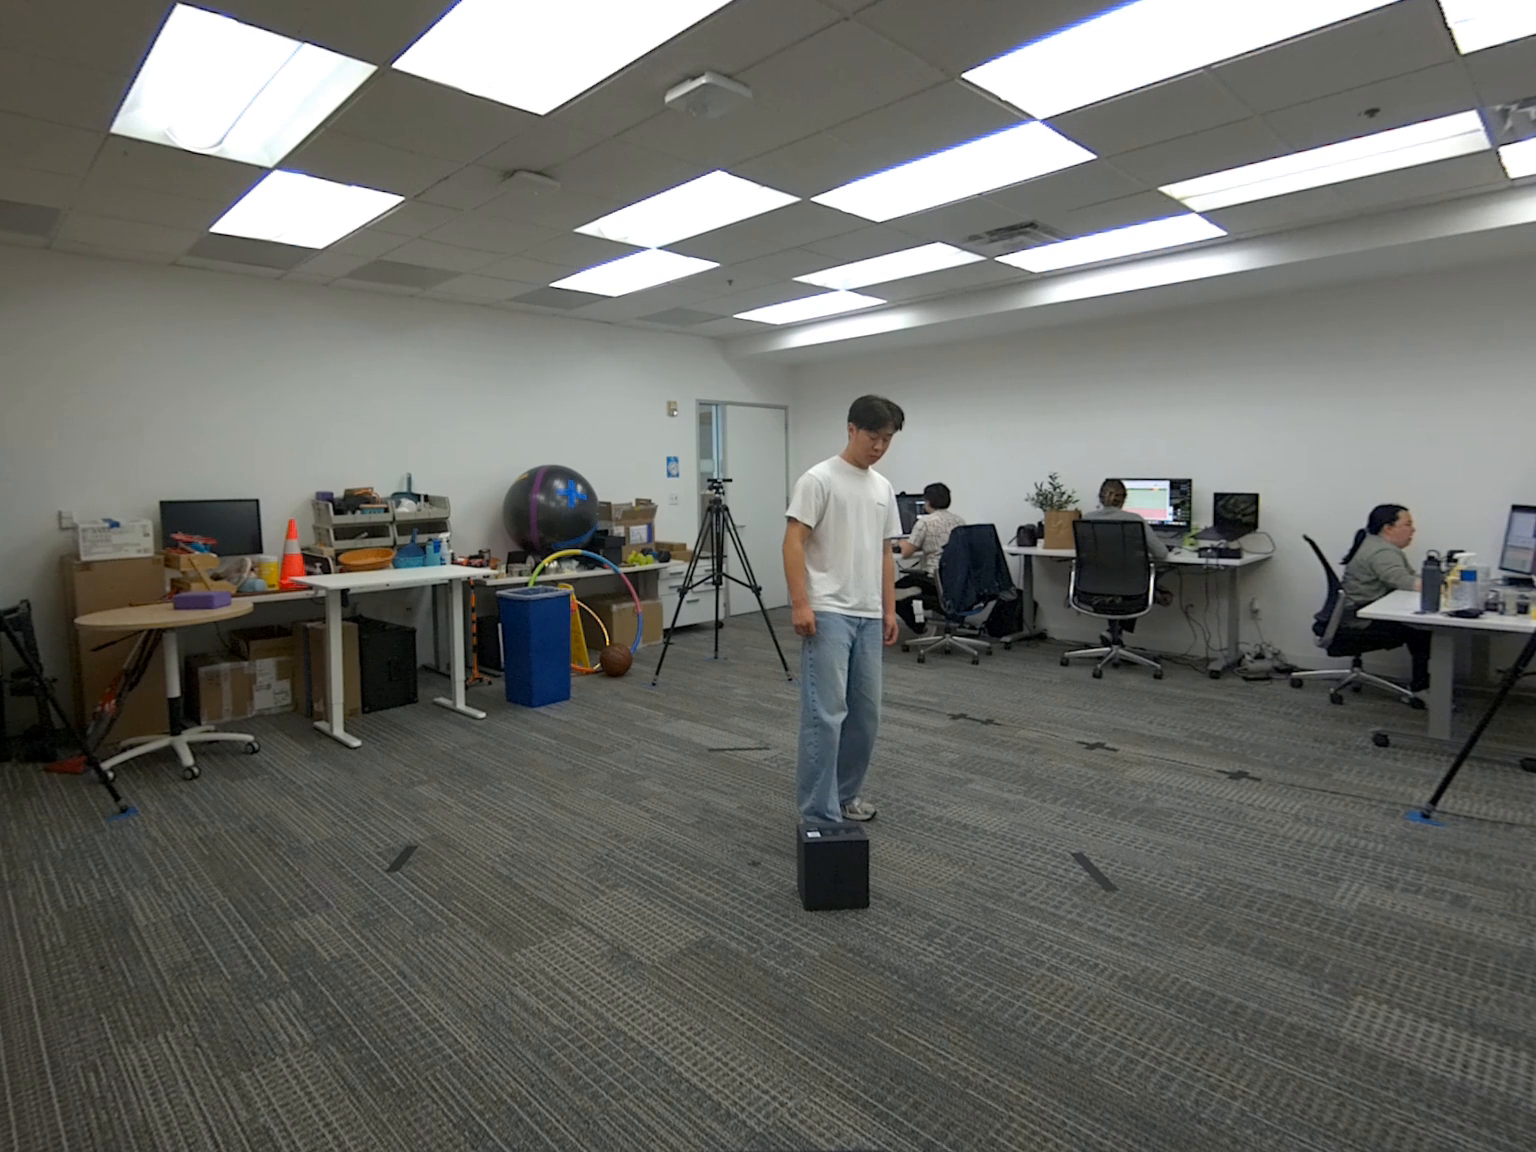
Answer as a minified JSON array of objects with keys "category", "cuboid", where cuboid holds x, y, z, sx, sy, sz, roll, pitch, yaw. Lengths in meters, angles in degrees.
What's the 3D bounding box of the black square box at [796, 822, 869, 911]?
[{"category":"black square box","cuboid":[0.214,0.954,2.830,0.216,0.227,0.157,-2,5,-5]}]
